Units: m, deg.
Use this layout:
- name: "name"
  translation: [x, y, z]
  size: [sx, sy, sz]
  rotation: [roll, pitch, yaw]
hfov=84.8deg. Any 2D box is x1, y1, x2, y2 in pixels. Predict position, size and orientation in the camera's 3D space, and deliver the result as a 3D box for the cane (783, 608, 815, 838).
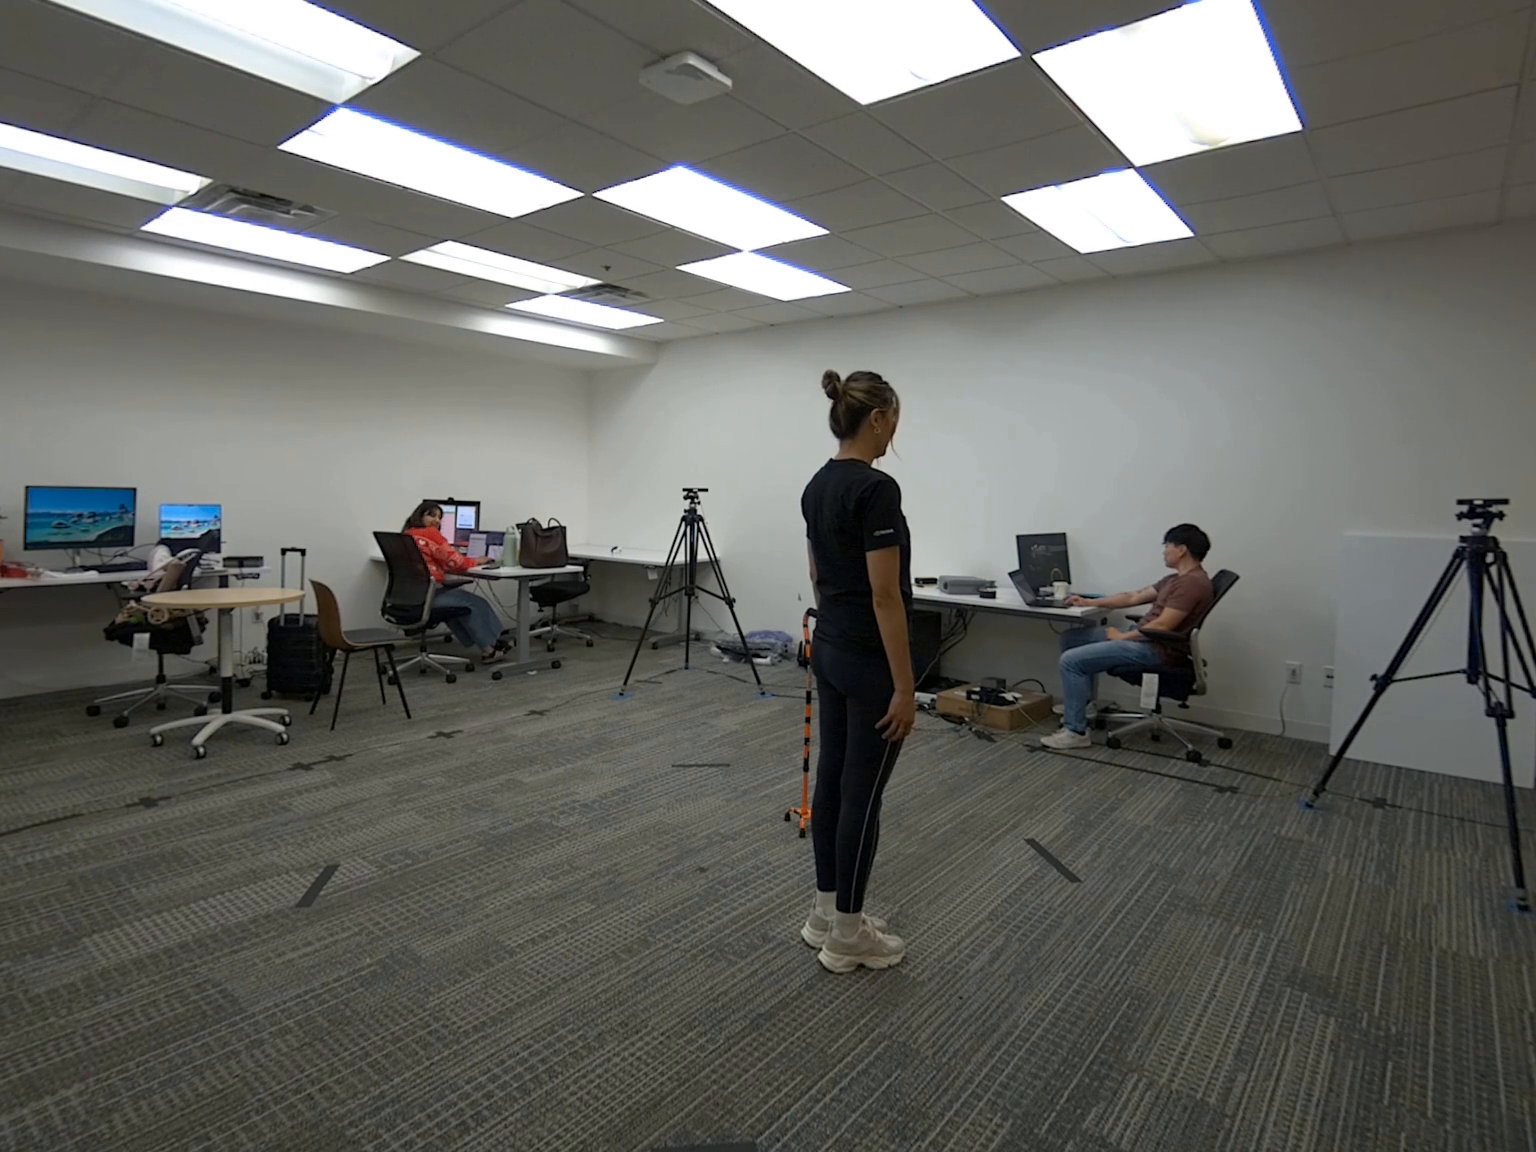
- name: "cane"
  translation: [0.169, 0.581, 3.505]
  size: [0.149, 0.906, 0.210]
  rotation: [0, 2, -16]
